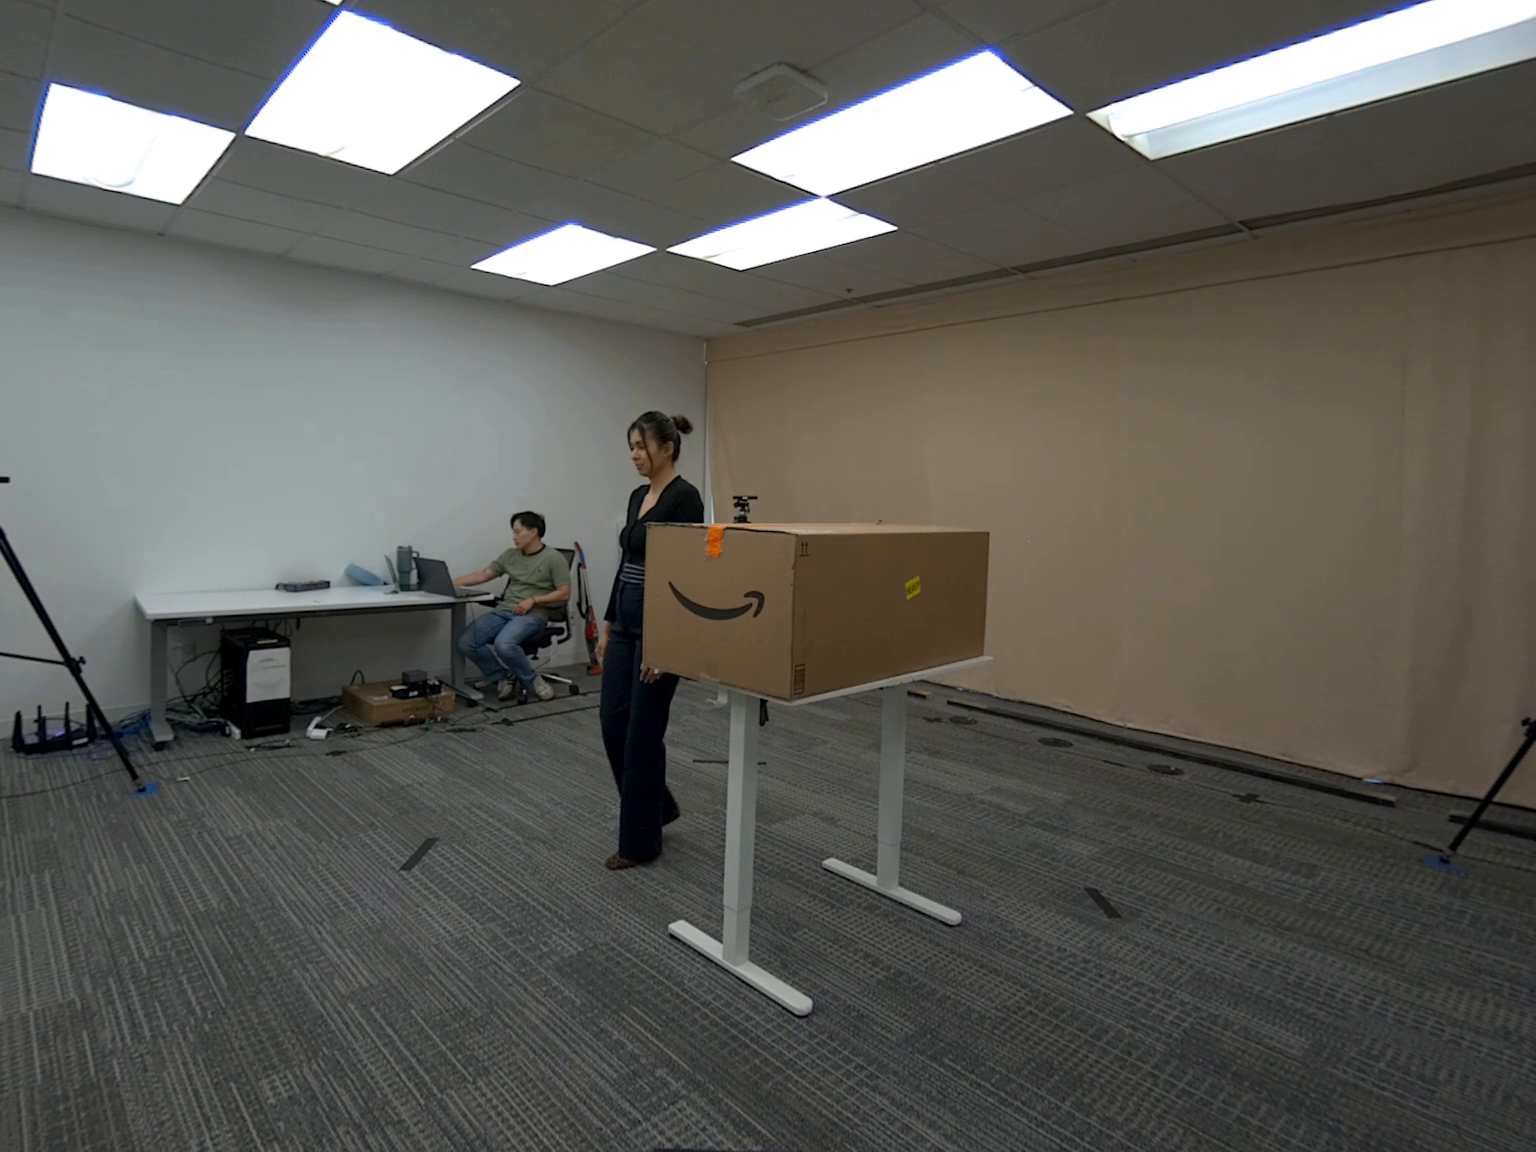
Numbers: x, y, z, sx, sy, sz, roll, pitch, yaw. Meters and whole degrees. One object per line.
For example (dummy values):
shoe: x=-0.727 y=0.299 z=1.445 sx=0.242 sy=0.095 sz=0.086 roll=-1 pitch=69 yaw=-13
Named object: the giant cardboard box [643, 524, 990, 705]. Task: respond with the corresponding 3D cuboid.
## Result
giant cardboard box: x=0.163 y=0.053 z=2.681 sx=0.592 sy=0.425 sz=1.002 roll=7 pitch=7 yaw=42
